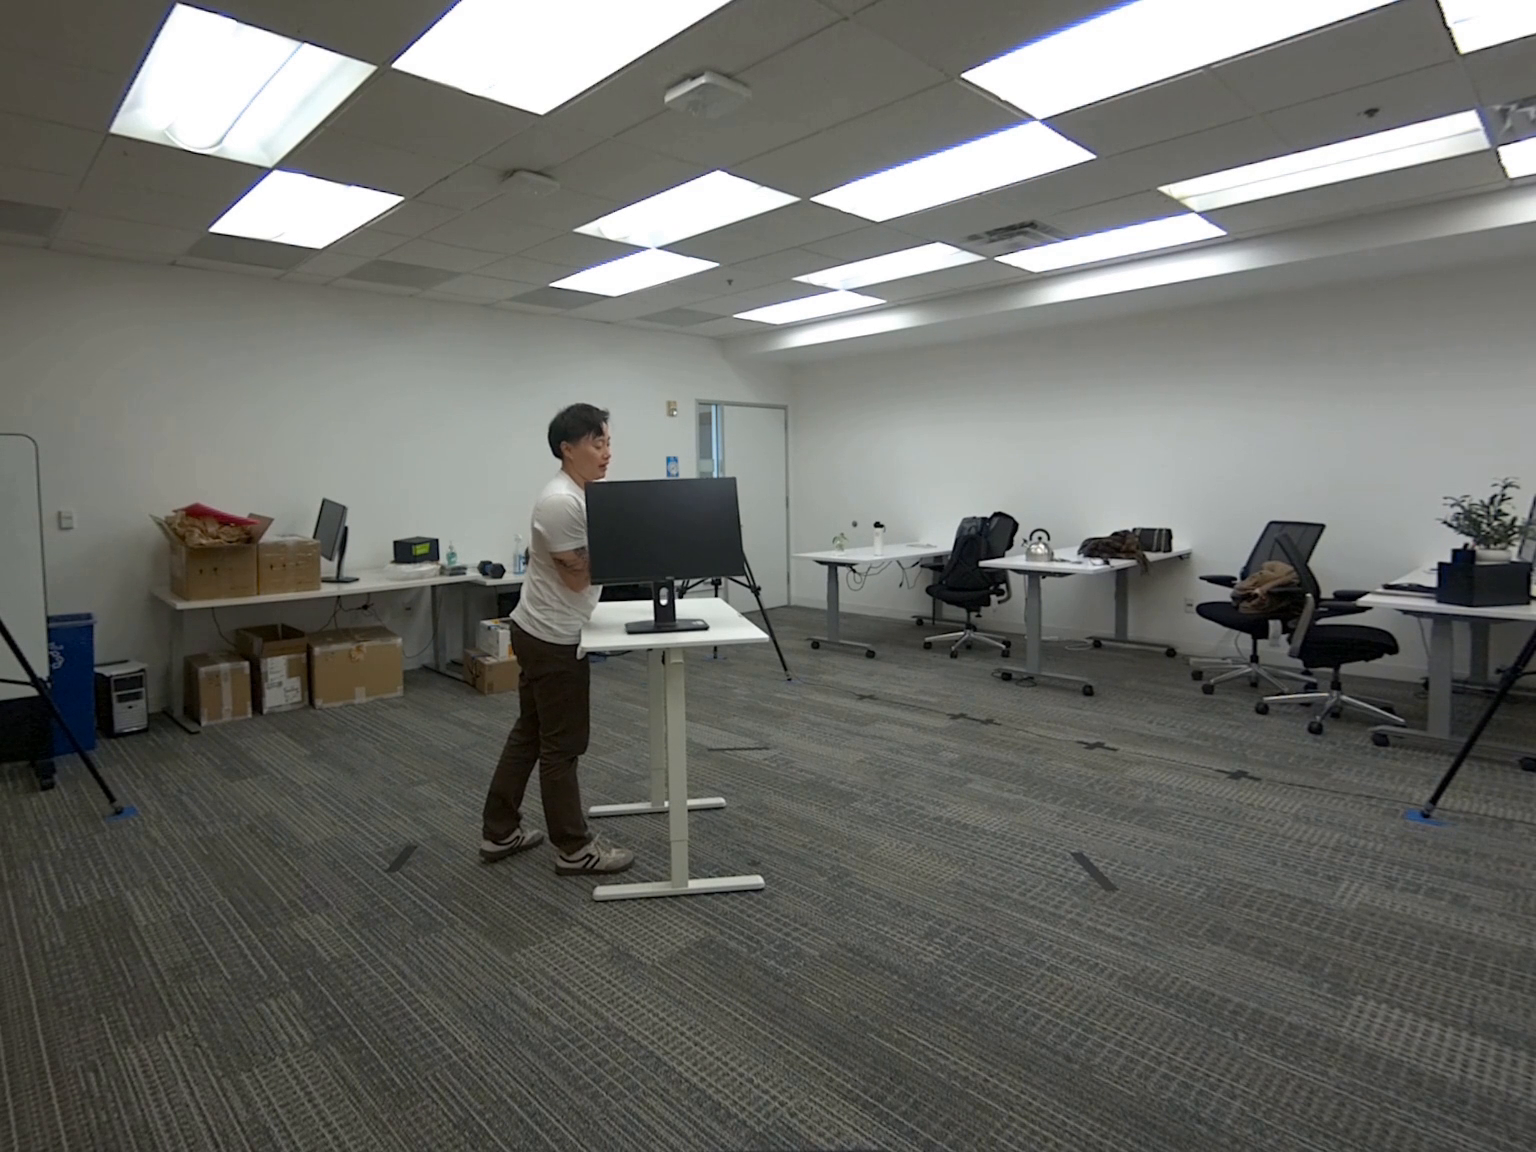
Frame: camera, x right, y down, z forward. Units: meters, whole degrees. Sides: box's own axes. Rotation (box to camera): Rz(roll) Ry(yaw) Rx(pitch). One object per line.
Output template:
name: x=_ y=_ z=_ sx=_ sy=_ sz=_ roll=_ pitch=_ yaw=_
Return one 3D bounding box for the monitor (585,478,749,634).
monitor: x=-0.362 y=-0.074 z=2.961 sx=0.531 sy=0.521 sz=0.190 roll=-3 pitch=4 yaw=-15
